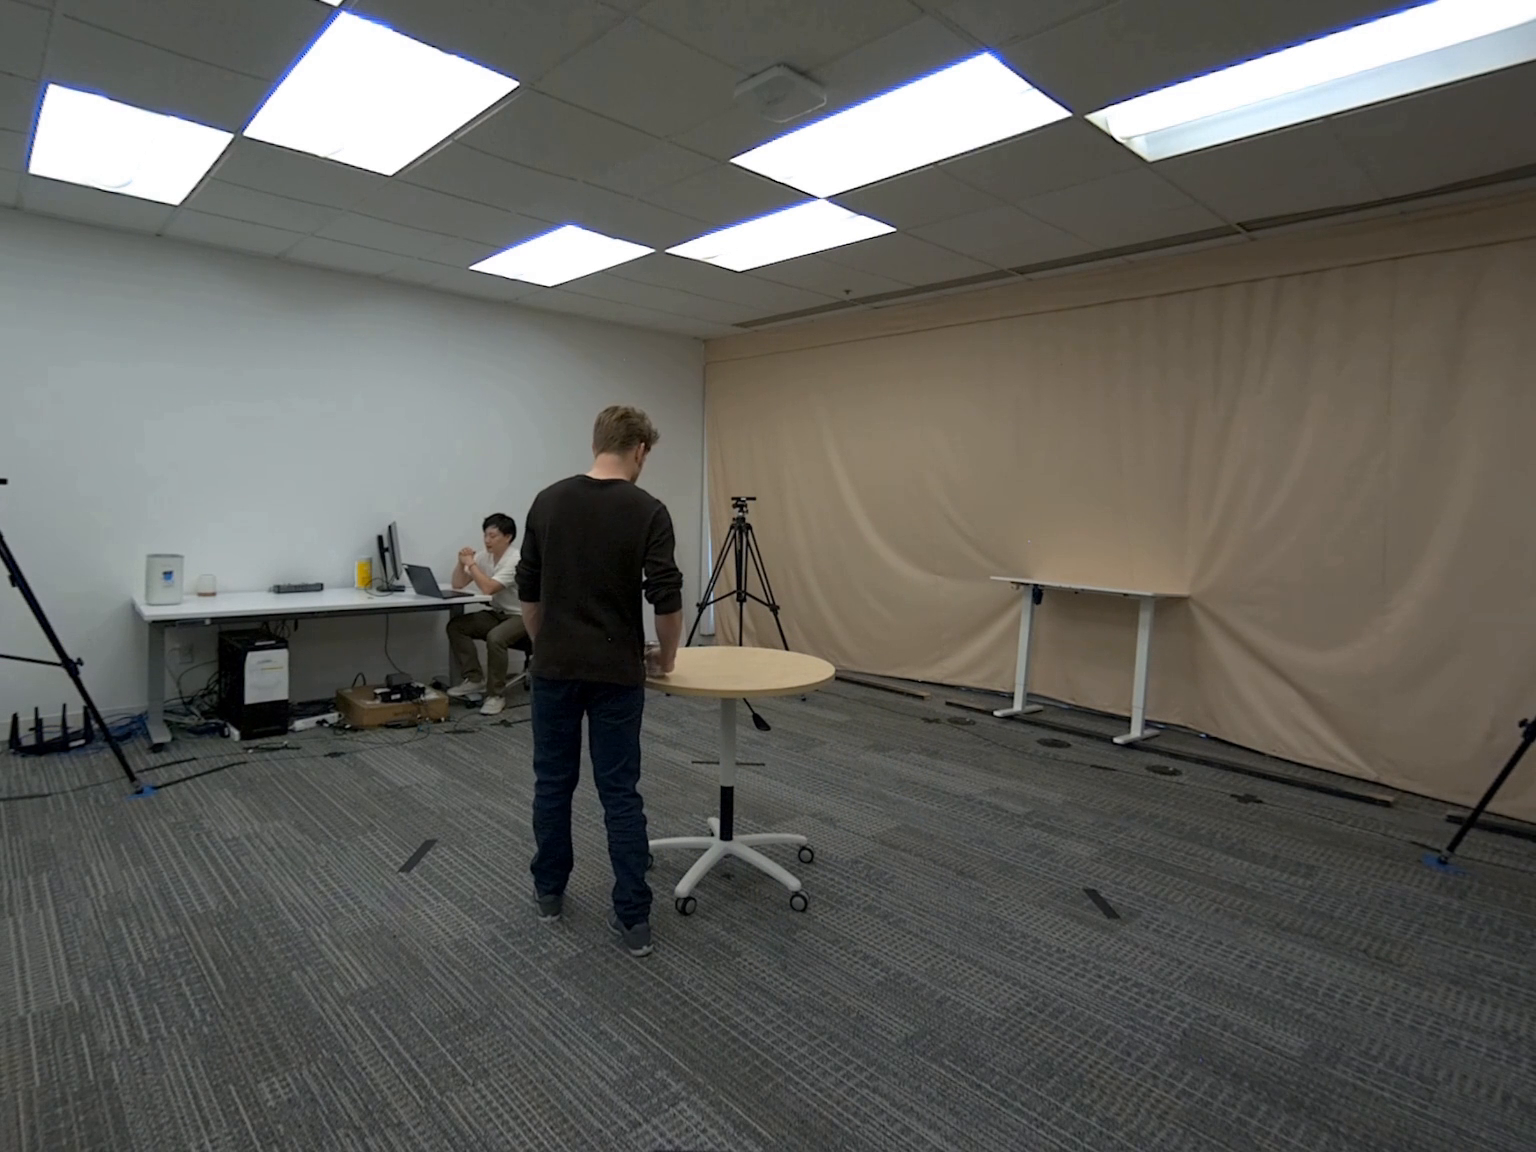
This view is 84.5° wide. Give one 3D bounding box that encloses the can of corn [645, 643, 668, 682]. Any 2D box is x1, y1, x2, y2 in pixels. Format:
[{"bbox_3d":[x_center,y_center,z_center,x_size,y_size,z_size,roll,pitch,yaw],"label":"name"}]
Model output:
[{"bbox_3d":[-0.381,0.290,2.854,0.074,0.110,0.074,1,7,-2],"label":"can of corn"}]
